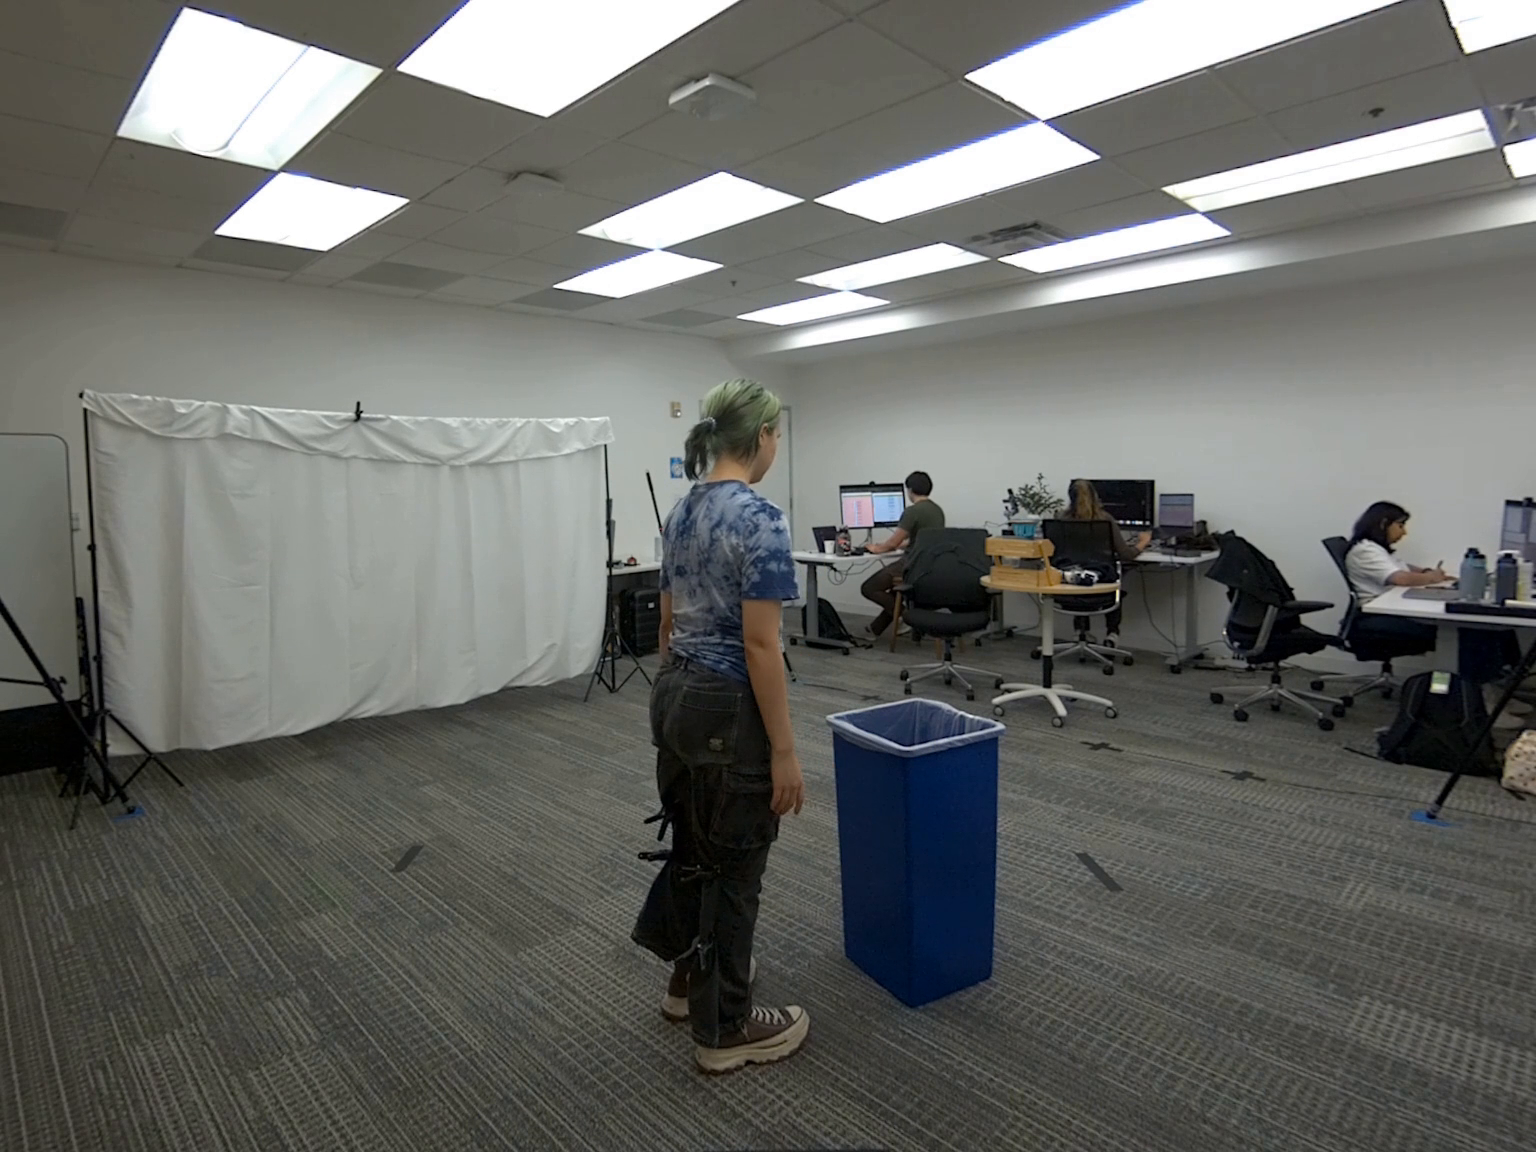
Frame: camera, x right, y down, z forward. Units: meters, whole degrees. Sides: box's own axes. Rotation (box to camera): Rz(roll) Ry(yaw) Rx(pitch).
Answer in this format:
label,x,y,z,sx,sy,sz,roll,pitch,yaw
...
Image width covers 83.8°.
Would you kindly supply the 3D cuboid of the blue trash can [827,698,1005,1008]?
label,x,y,z,sx,sy,sz,roll,pitch,yaw
blue trash can,0.421,0.763,2.410,0.365,0.711,0.388,-4,5,-31
